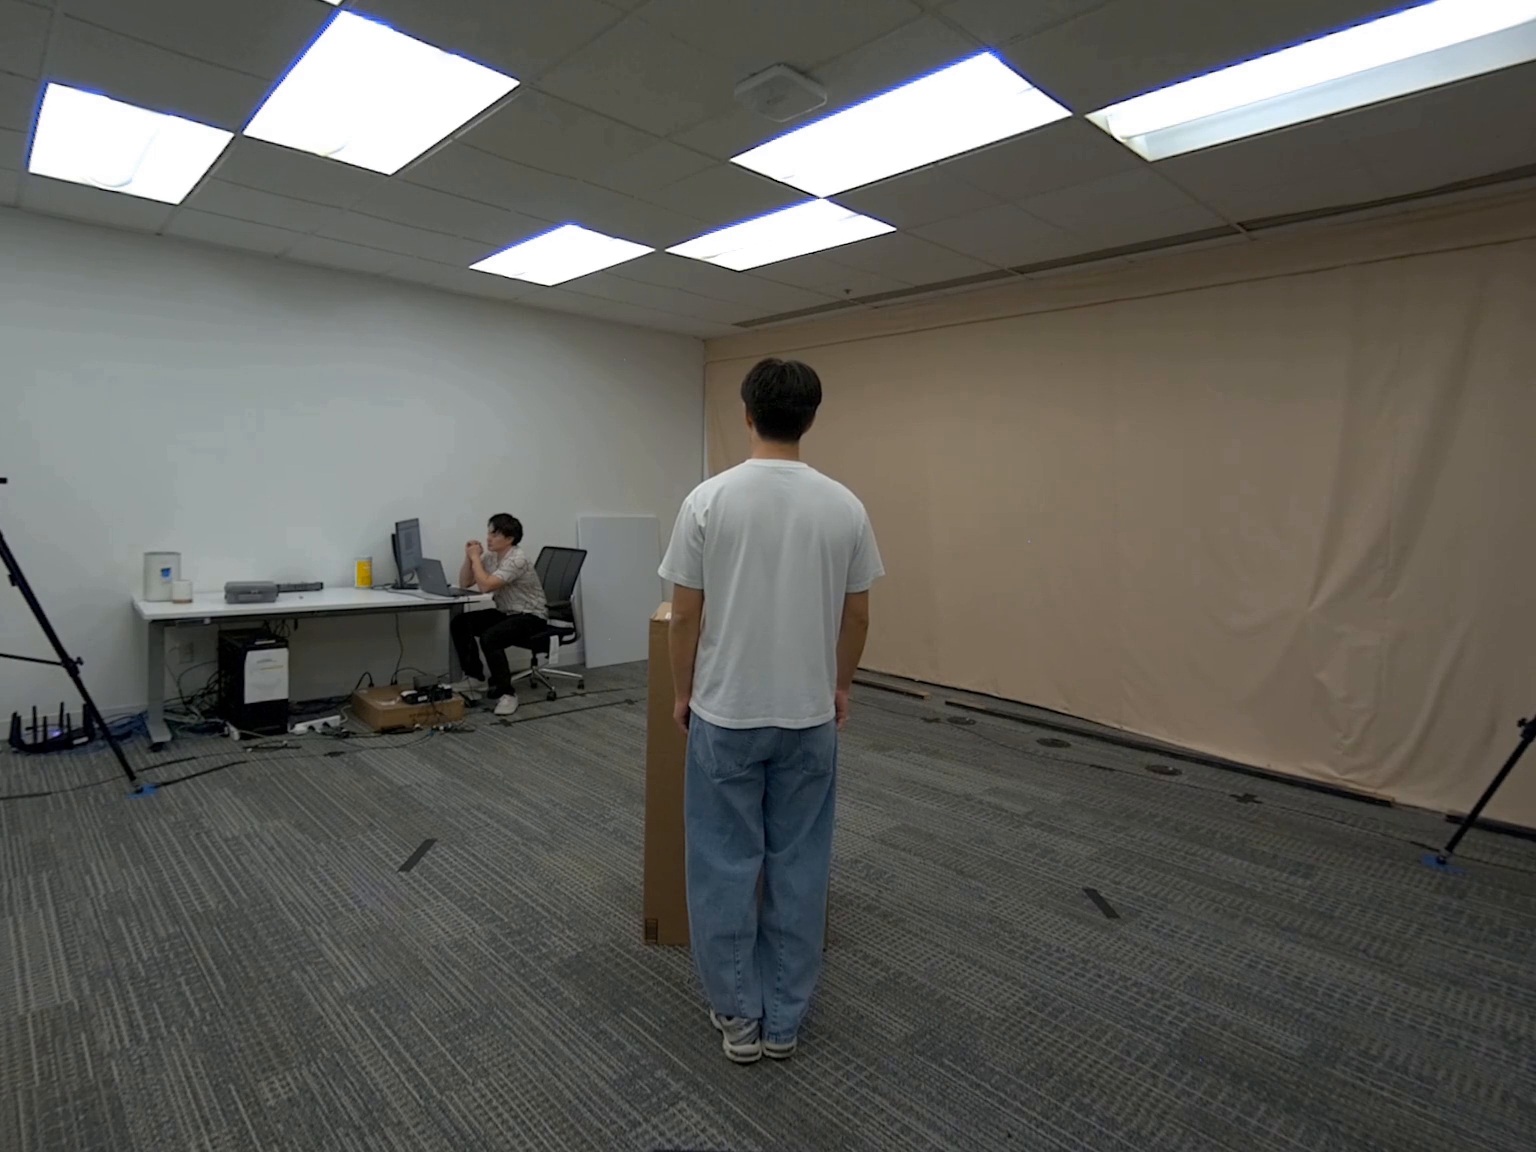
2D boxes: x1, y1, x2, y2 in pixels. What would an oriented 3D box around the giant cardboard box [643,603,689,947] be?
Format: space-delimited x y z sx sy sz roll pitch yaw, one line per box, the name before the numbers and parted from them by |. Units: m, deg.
giant cardboard box | -0.099 0.630 2.782 0.578 1.023 0.427 2 3 0
